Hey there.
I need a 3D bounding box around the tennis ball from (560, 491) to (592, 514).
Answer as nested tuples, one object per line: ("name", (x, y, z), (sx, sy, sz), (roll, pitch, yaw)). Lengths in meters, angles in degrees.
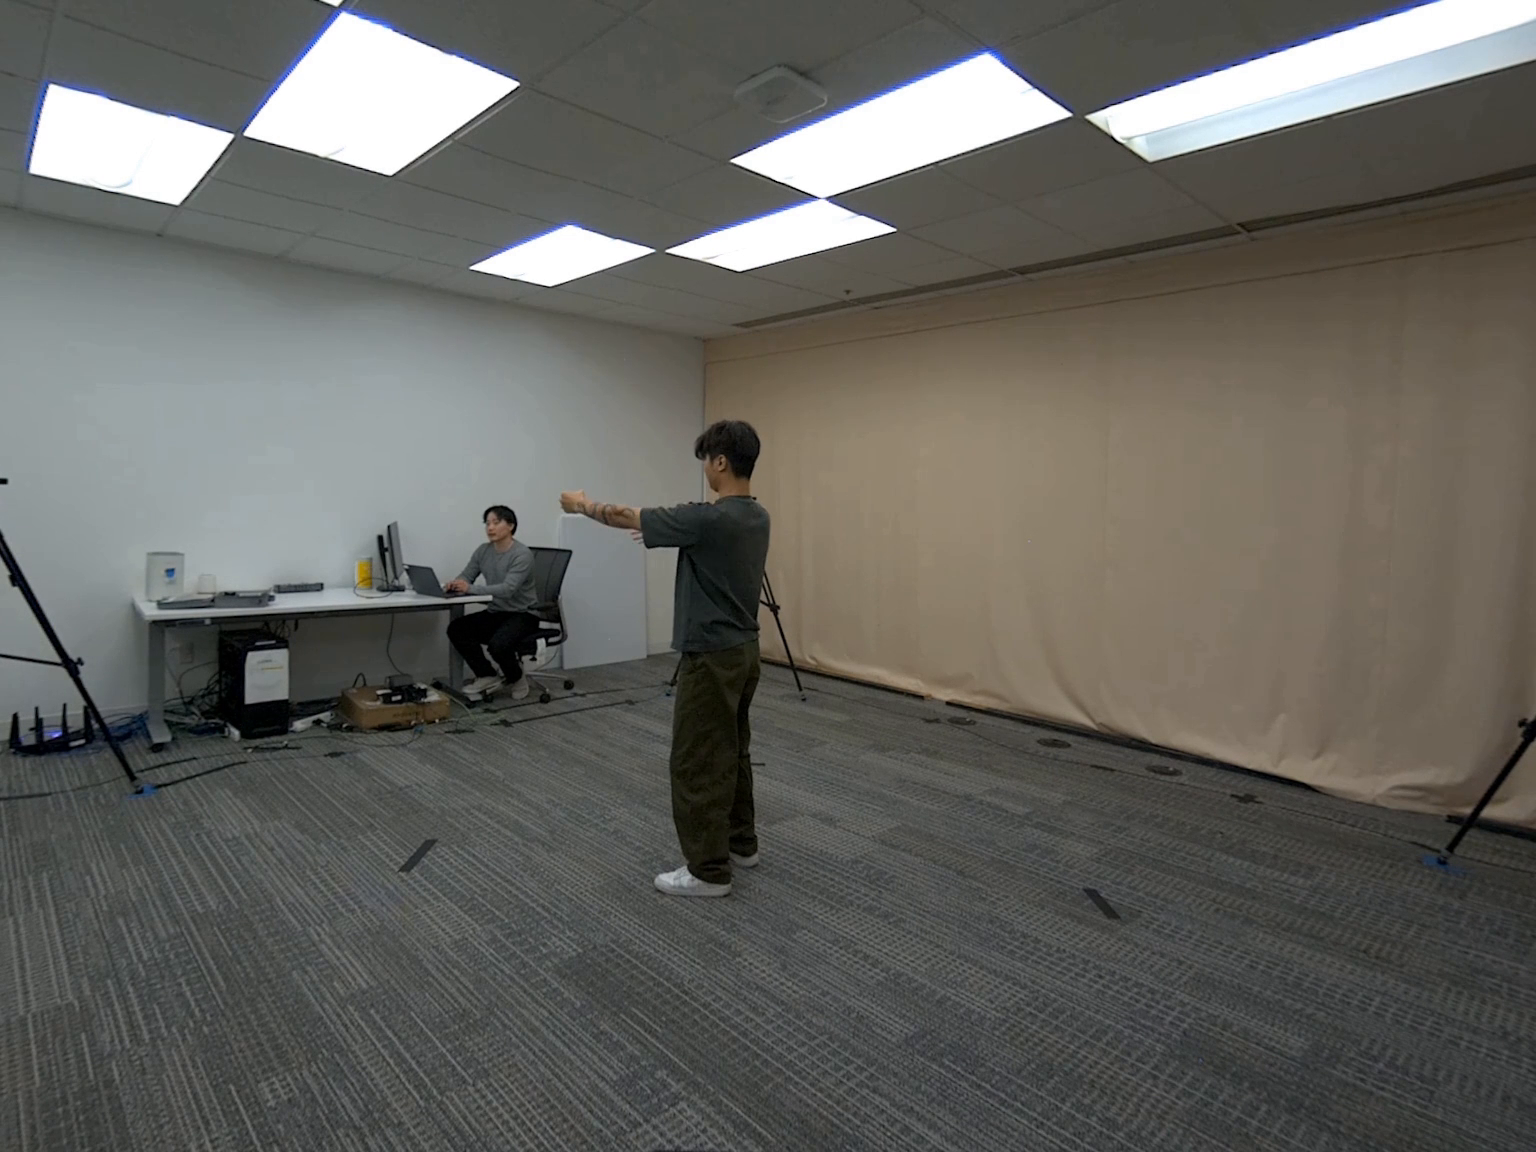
("tennis ball", (-0.722, -0.268, 3.130), (0.066, 0.066, 0.067), (1, 4, -1))
